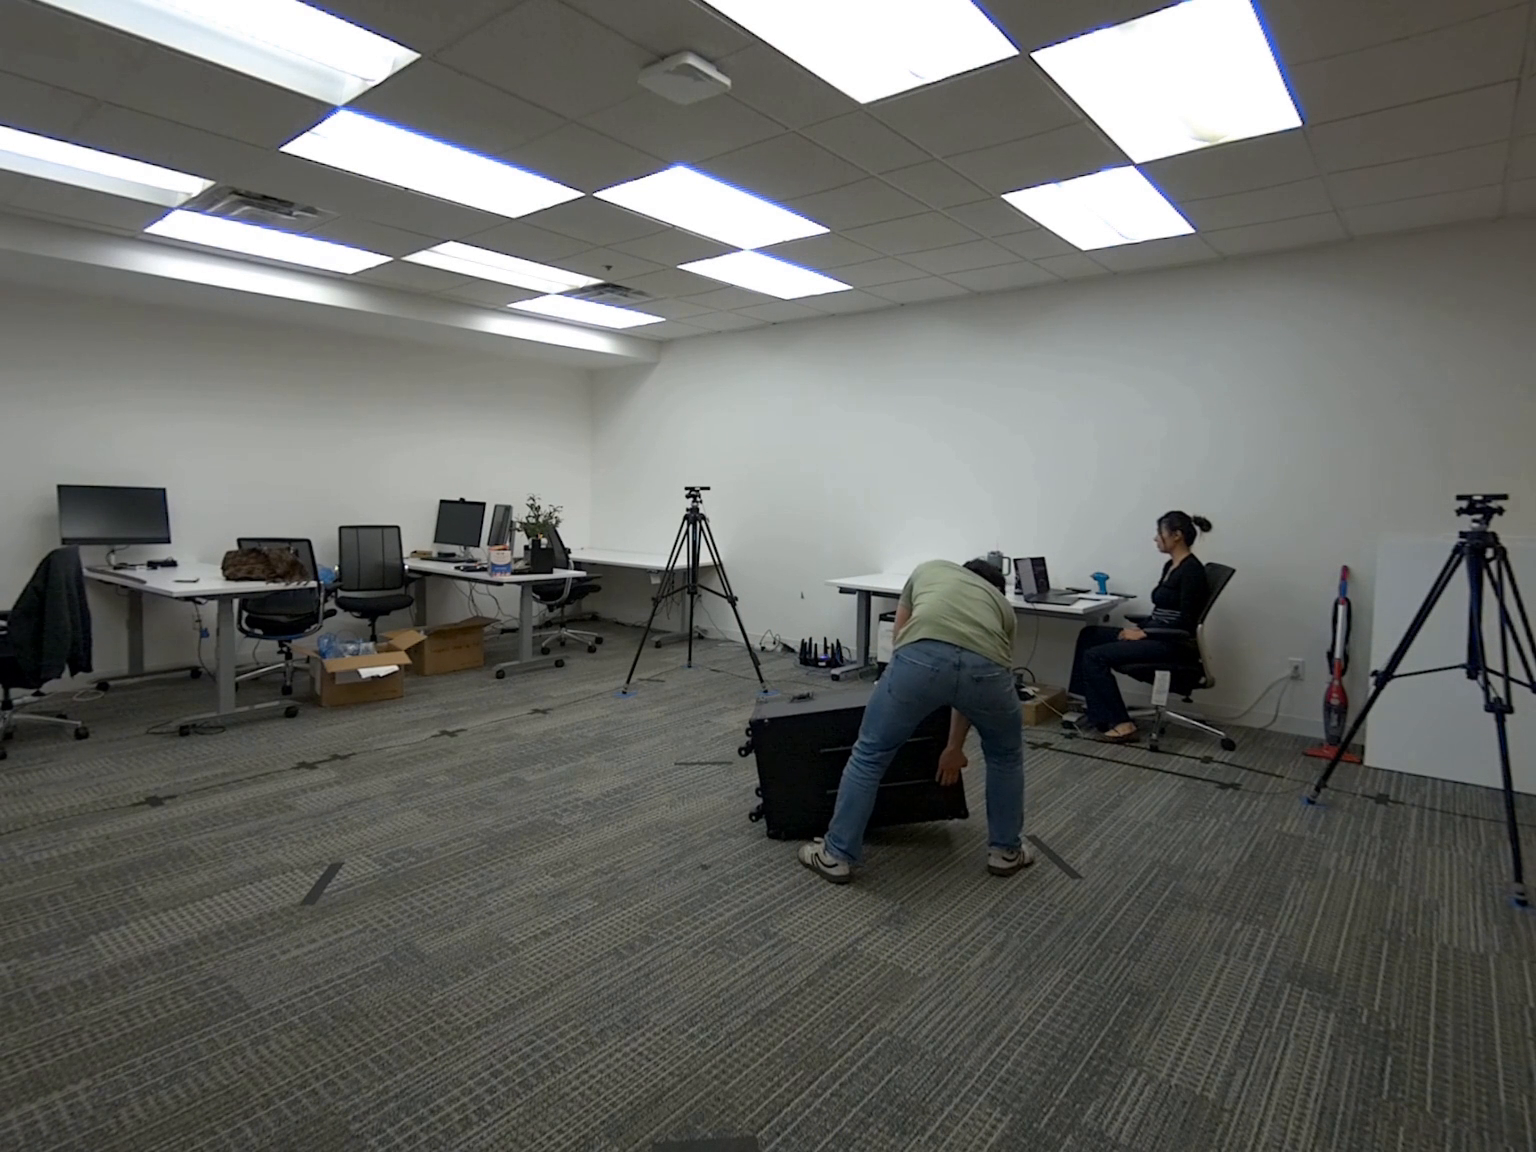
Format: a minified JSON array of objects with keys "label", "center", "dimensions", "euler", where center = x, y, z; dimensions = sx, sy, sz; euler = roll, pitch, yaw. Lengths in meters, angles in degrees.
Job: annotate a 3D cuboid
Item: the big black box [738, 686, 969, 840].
[{"label":"big black box","center":[0.371,0.722,3.477],"dimensions":[0.867,0.520,0.395],"euler":[-8,3,7]}]
